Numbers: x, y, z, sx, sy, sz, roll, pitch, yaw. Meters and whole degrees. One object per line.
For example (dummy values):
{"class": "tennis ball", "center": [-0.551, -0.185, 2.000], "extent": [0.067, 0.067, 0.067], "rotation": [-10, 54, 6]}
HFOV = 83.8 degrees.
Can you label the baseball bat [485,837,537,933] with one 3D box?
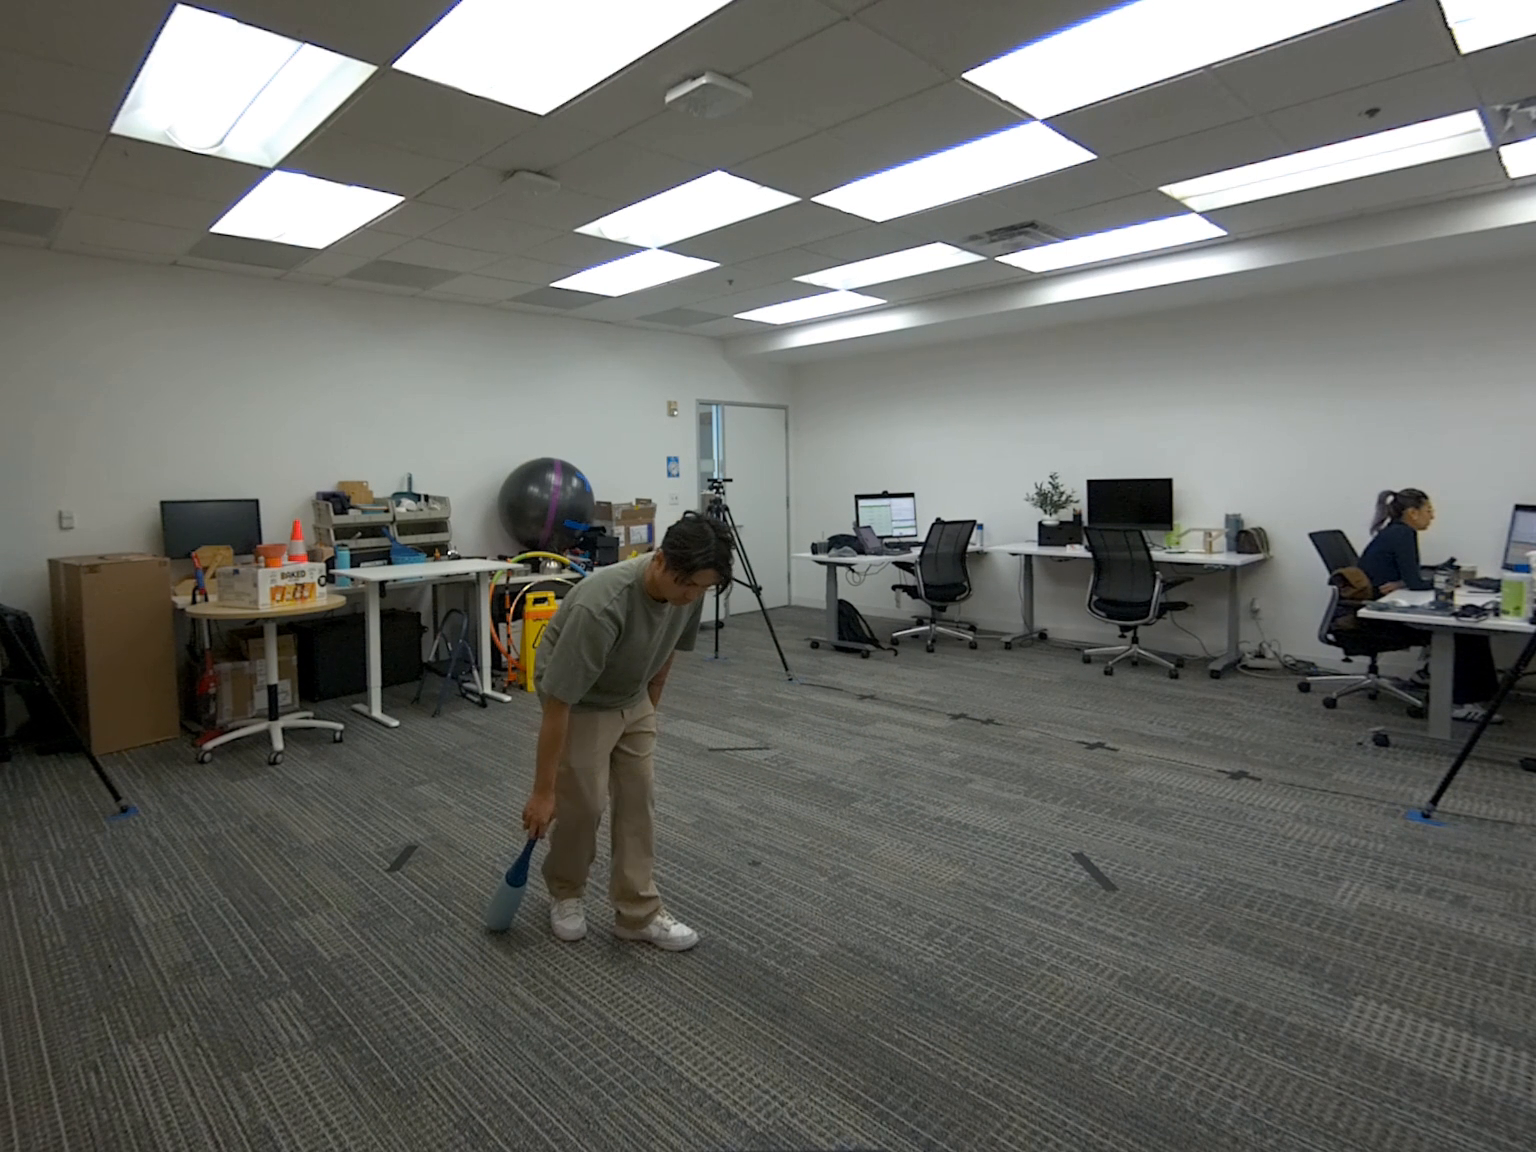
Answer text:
{"class": "baseball bat", "center": [-0.744, 0.899, 2.549], "extent": [0.087, 0.537, 0.091], "rotation": [17, 38, -15]}
